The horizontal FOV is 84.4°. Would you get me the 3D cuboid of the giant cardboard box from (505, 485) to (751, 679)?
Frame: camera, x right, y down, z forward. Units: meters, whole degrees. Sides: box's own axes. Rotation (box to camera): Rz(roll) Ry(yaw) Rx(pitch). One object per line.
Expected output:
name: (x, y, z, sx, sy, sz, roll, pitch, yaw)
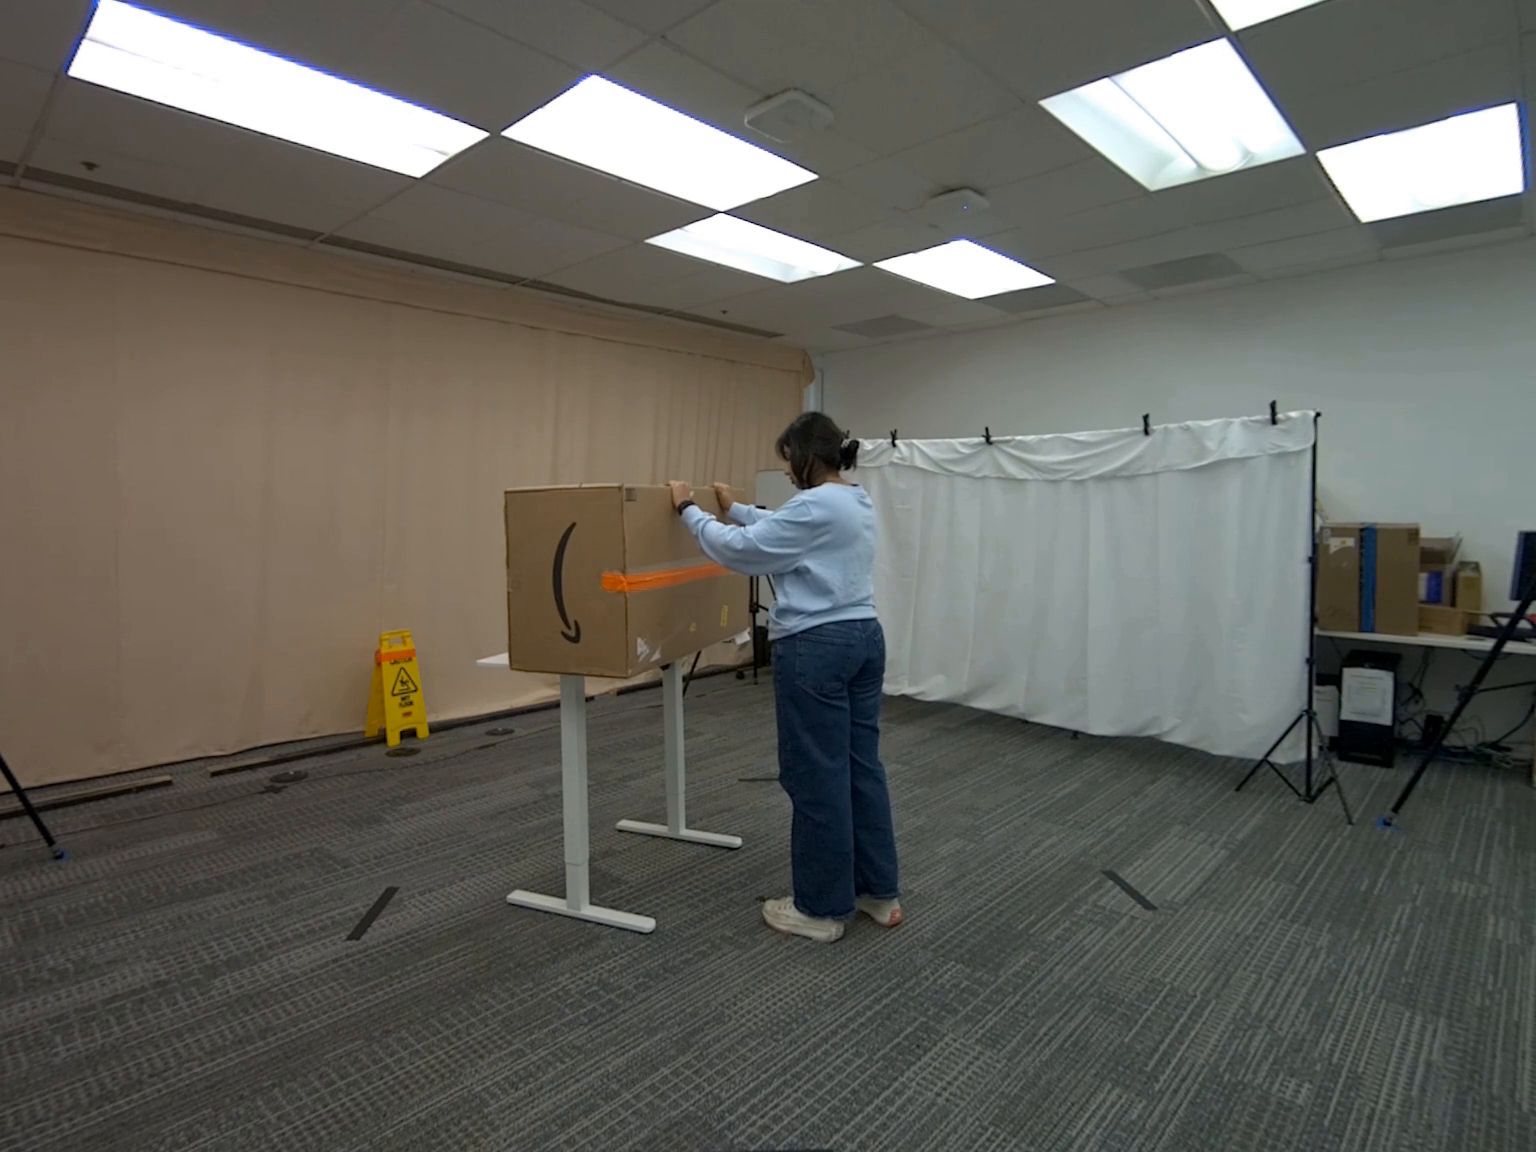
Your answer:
giant cardboard box: (-0.447, -0.026, 3.026, 0.436, 0.576, 1.006, 1, 5, 20)
